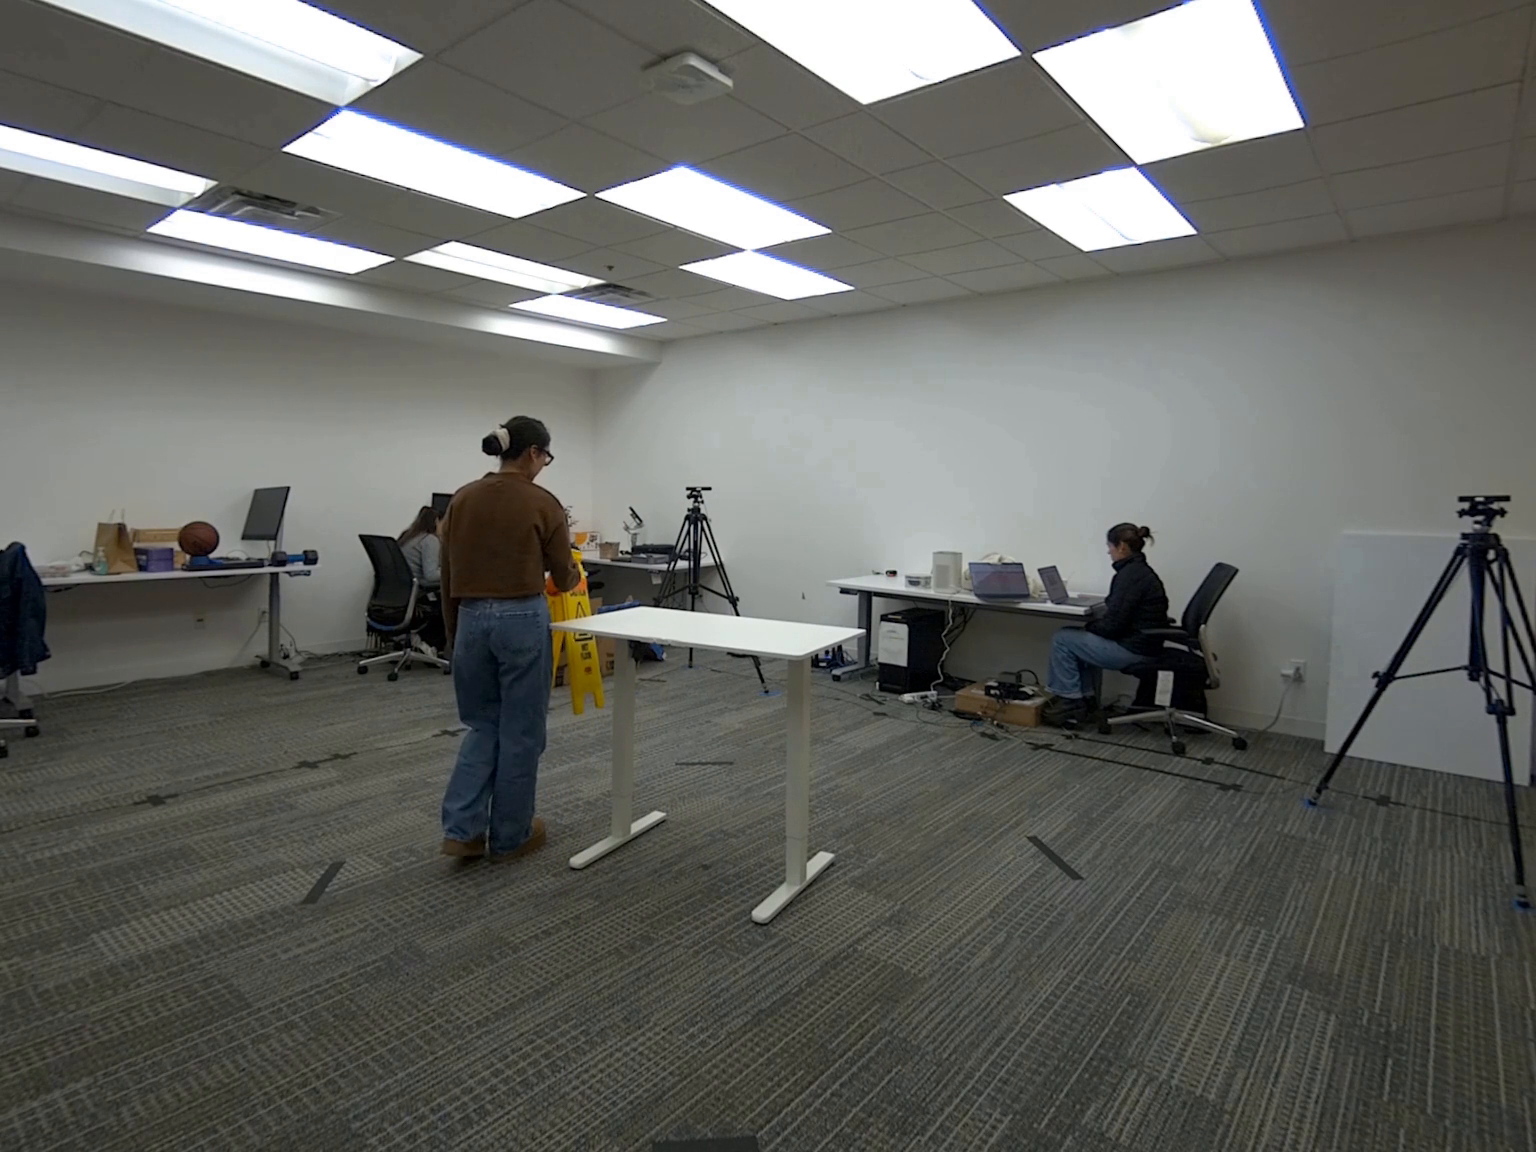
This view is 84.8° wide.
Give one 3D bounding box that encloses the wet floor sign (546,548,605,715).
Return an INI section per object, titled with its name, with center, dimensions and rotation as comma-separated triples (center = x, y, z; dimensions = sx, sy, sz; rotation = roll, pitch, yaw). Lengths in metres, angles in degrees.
[wet floor sign]
center = -0.849, 0.217, 3.499
dimensions = 0.294, 0.647, 0.277
rotation = 2, -2, 14
